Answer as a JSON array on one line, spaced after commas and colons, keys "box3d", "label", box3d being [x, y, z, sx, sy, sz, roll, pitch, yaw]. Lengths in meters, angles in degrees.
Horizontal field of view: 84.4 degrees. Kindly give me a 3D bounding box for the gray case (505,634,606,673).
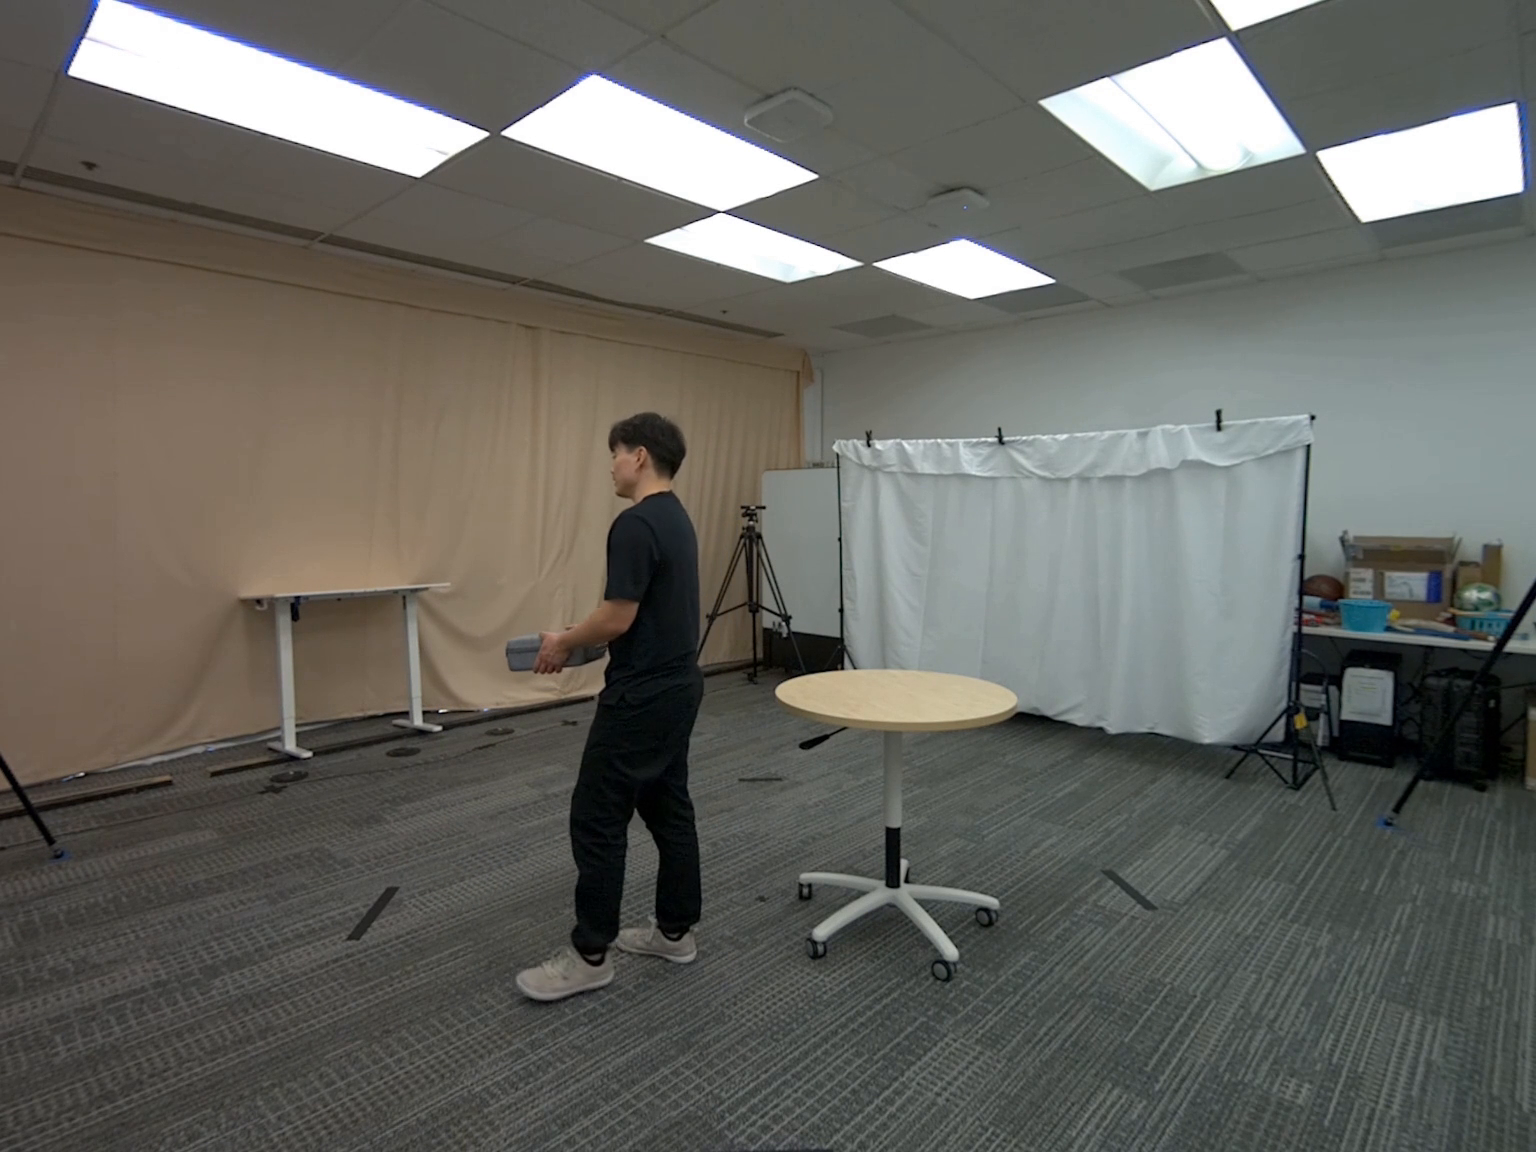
[{"box3d": [-0.663, 0.230, 2.649, 0.263, 0.104, 0.254, -4, -1, 9], "label": "gray case"}]
